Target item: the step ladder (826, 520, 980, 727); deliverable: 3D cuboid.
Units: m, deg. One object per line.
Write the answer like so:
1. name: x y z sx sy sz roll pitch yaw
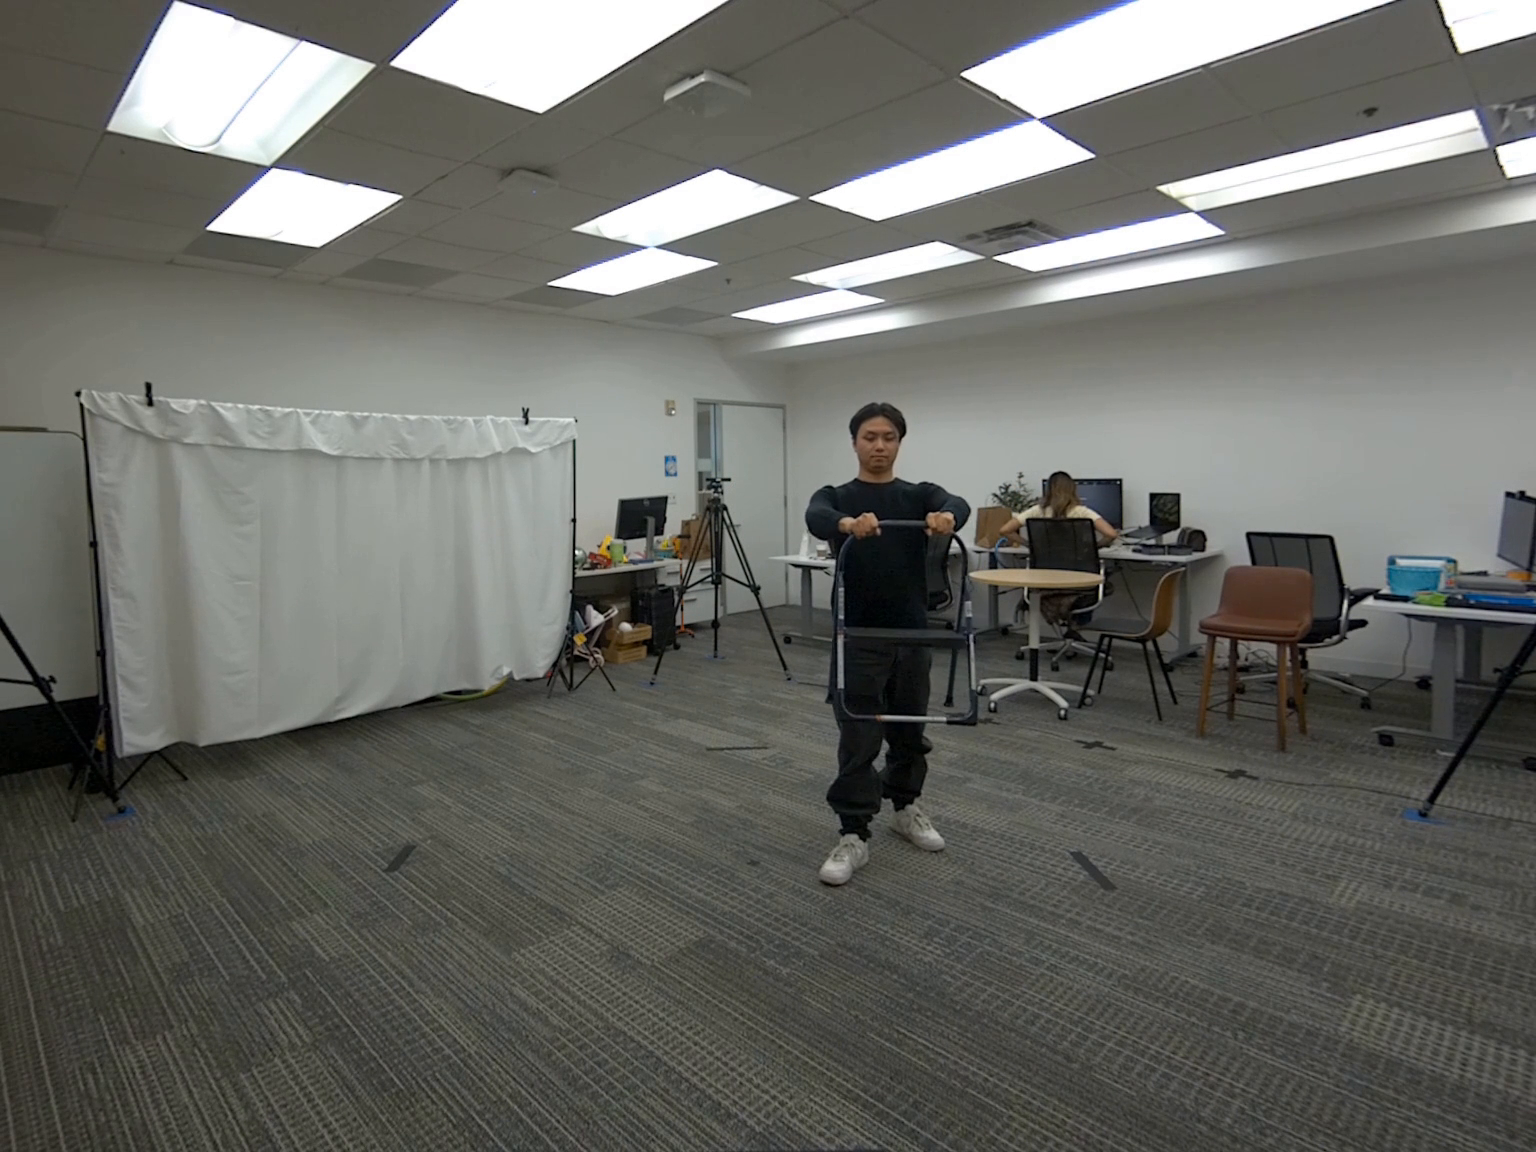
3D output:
1. step ladder: 0.417 0.138 2.706 0.431 0.607 0.349 0 -1 0
